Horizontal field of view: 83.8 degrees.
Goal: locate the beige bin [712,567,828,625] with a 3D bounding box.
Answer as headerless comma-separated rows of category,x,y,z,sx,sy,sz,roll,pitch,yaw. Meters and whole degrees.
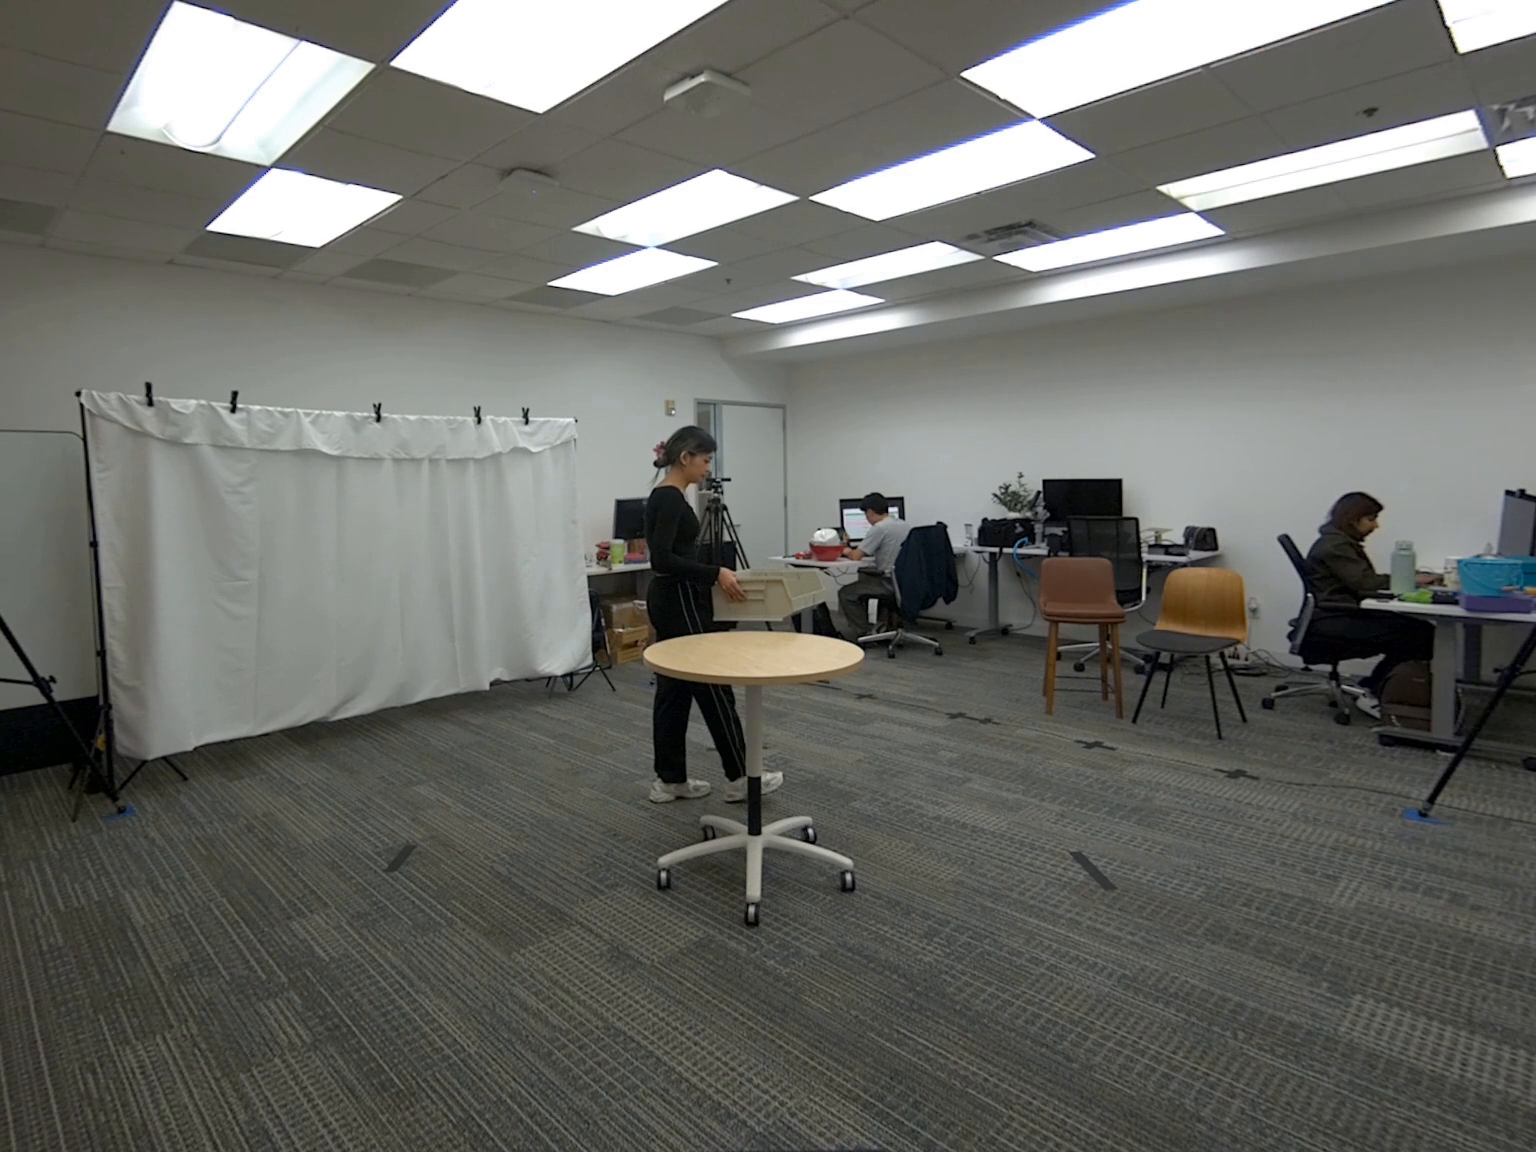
beige bin,0.004,0.079,3.667,0.385,0.188,0.414,-1,5,24
